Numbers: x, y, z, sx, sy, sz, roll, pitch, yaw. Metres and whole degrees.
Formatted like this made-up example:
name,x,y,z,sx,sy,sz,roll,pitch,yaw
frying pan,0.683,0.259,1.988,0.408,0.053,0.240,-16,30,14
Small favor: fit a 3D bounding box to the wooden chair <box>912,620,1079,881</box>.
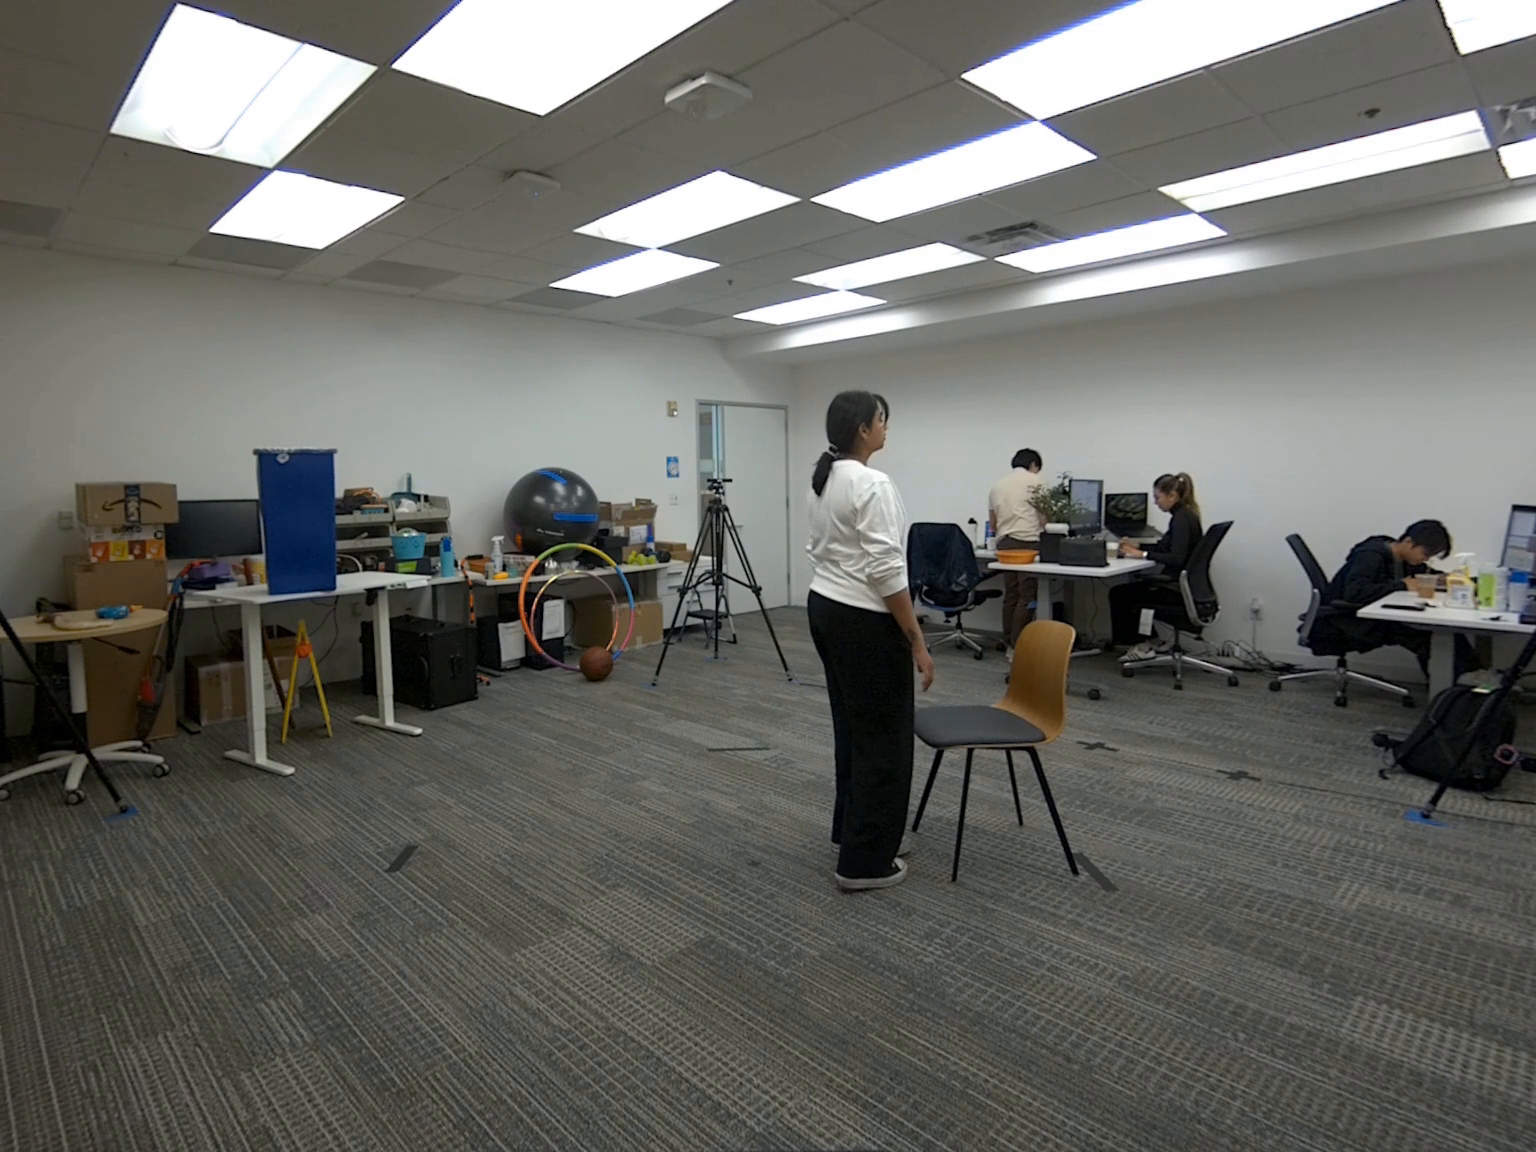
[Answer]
name,x,y,z,sx,sy,sz,roll,pitch,yaw
wooden chair,0.808,0.596,3.145,0.520,0.874,0.483,3,4,-6
